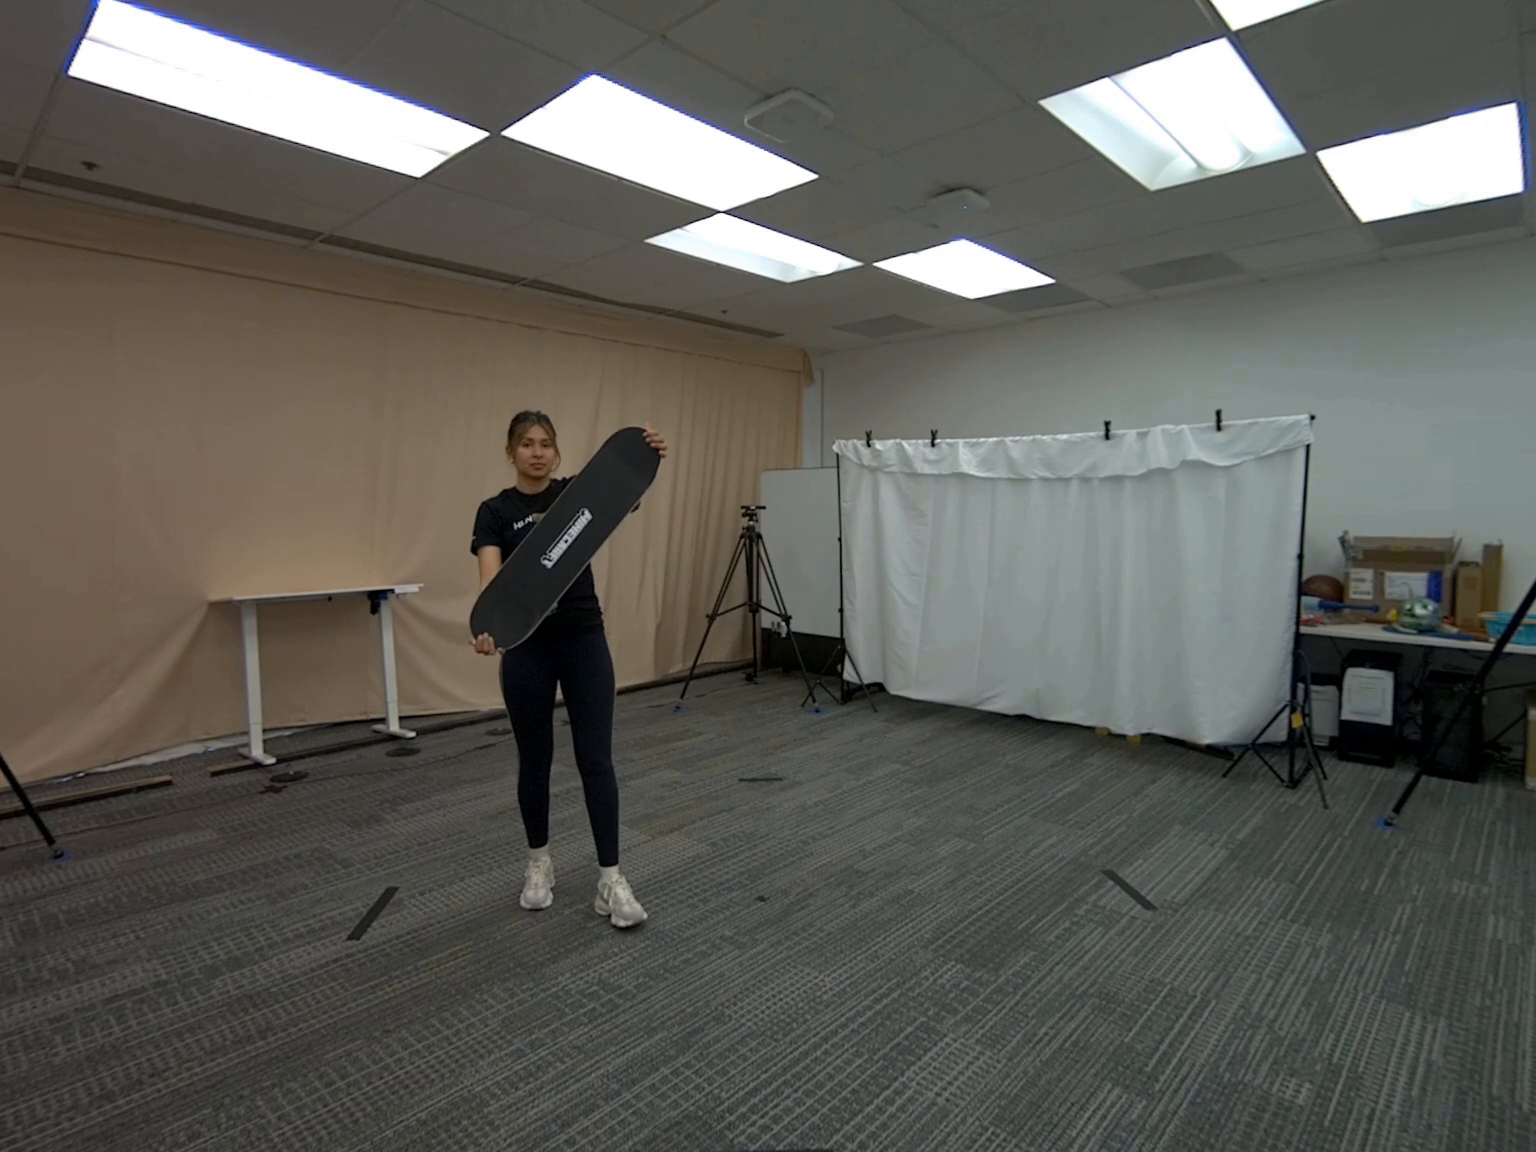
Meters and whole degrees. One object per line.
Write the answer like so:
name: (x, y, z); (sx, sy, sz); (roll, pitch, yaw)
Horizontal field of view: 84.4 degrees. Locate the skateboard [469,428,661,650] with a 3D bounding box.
skateboard: (-0.586, -0.111, 2.485); (0.194, 0.785, 0.110); (39, 0, 3)
